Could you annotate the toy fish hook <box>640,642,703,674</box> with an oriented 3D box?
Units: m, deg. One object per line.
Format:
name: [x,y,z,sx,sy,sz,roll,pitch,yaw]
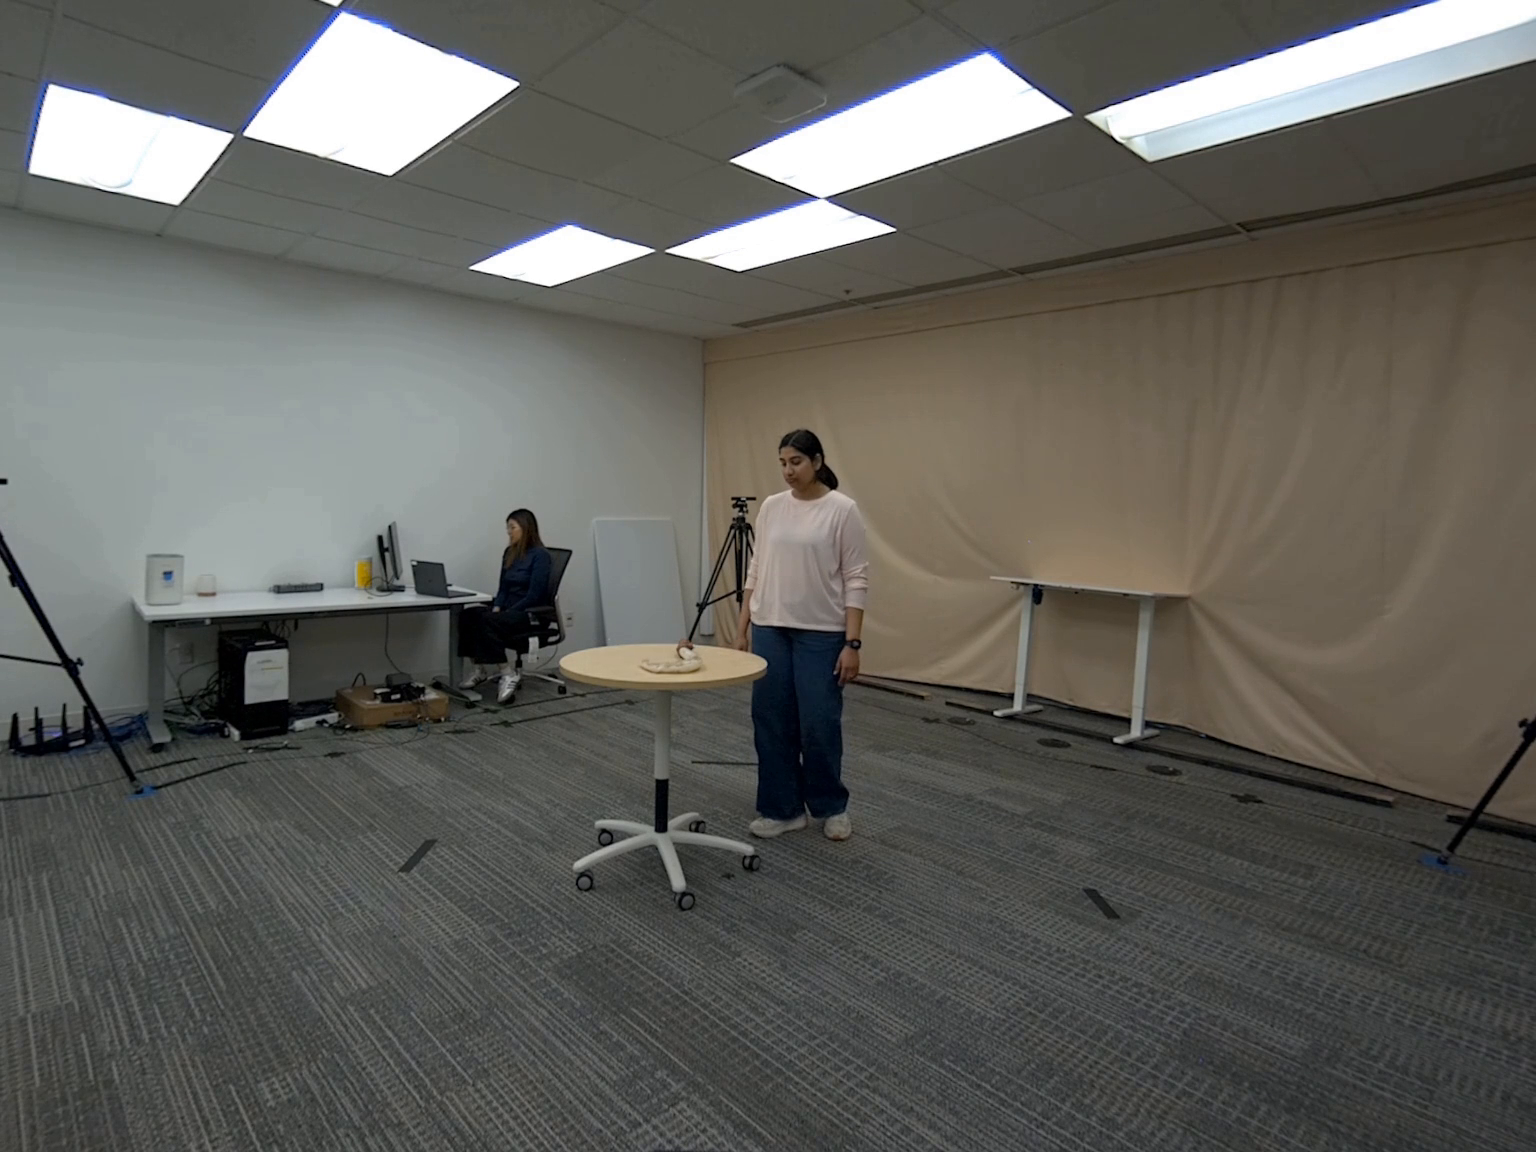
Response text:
toy fish hook: [-0.370,0.290,3.139,0.224,0.048,0.510,6,6,-5]
